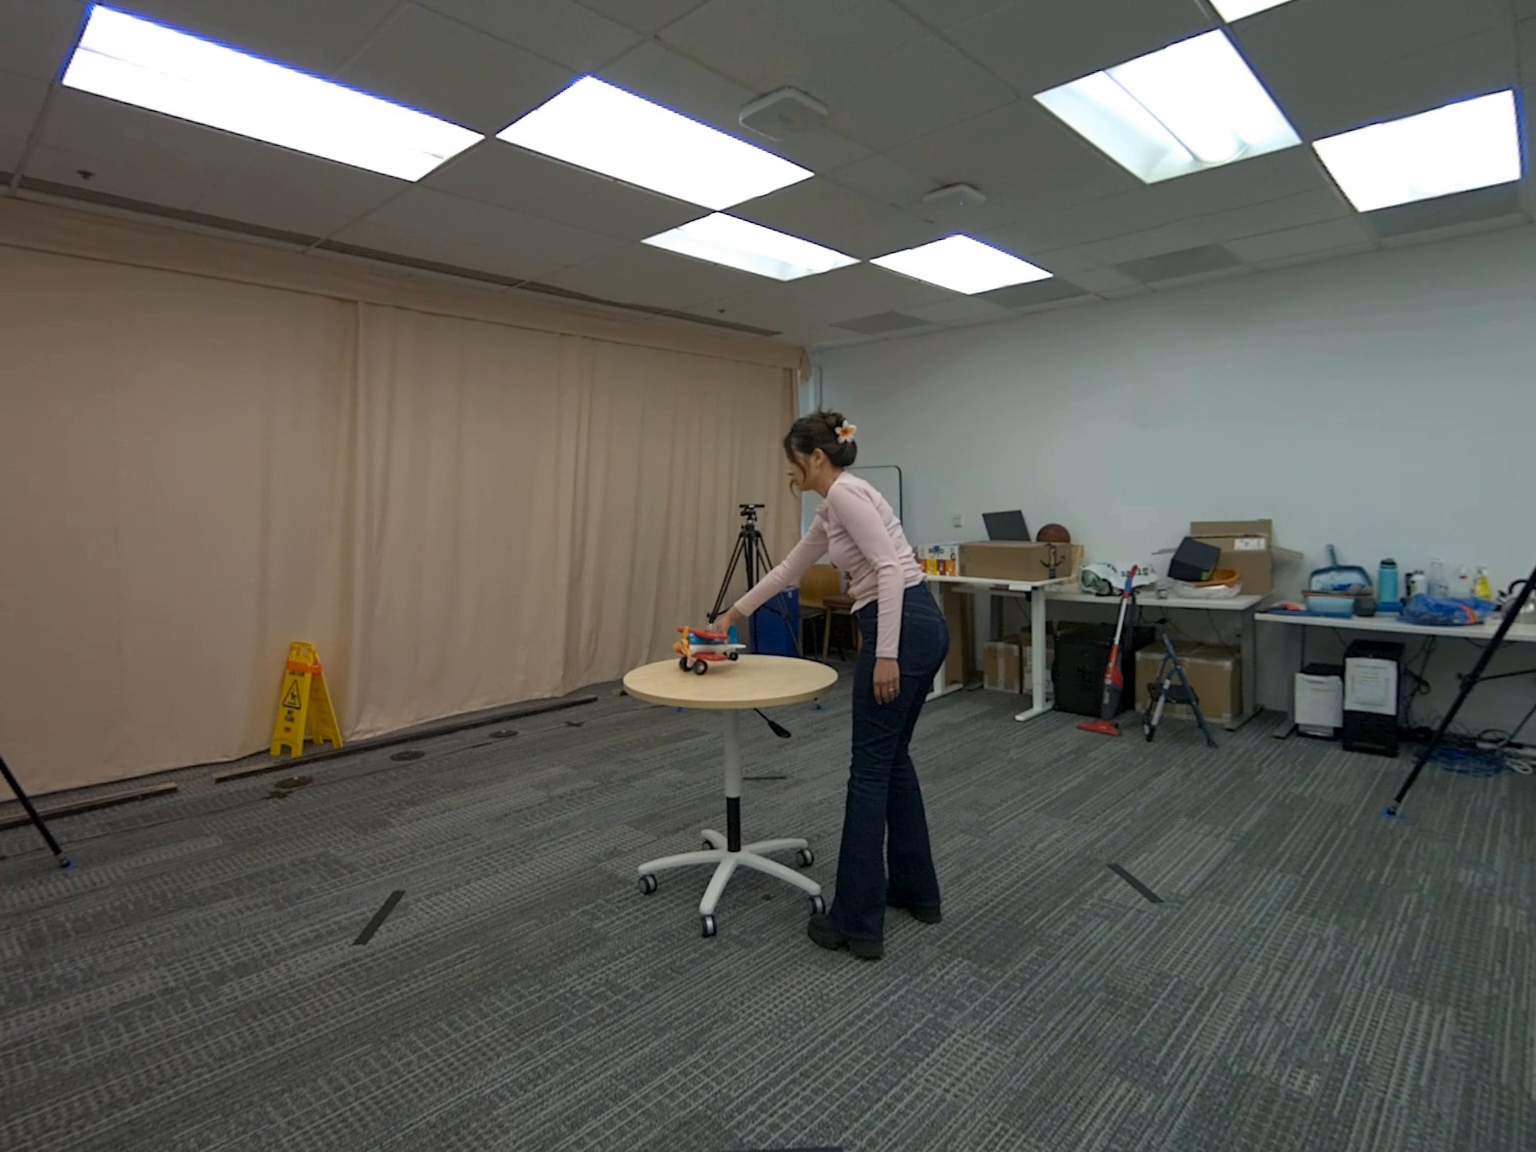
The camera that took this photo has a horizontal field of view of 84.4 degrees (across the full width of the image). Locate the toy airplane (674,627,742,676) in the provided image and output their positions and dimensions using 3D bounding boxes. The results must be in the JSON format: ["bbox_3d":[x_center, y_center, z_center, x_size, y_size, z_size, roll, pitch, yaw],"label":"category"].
[{"bbox_3d":[-0.228,0.260,3.130,0.257,0.155,0.255,-2,12,23],"label":"toy airplane"}]
